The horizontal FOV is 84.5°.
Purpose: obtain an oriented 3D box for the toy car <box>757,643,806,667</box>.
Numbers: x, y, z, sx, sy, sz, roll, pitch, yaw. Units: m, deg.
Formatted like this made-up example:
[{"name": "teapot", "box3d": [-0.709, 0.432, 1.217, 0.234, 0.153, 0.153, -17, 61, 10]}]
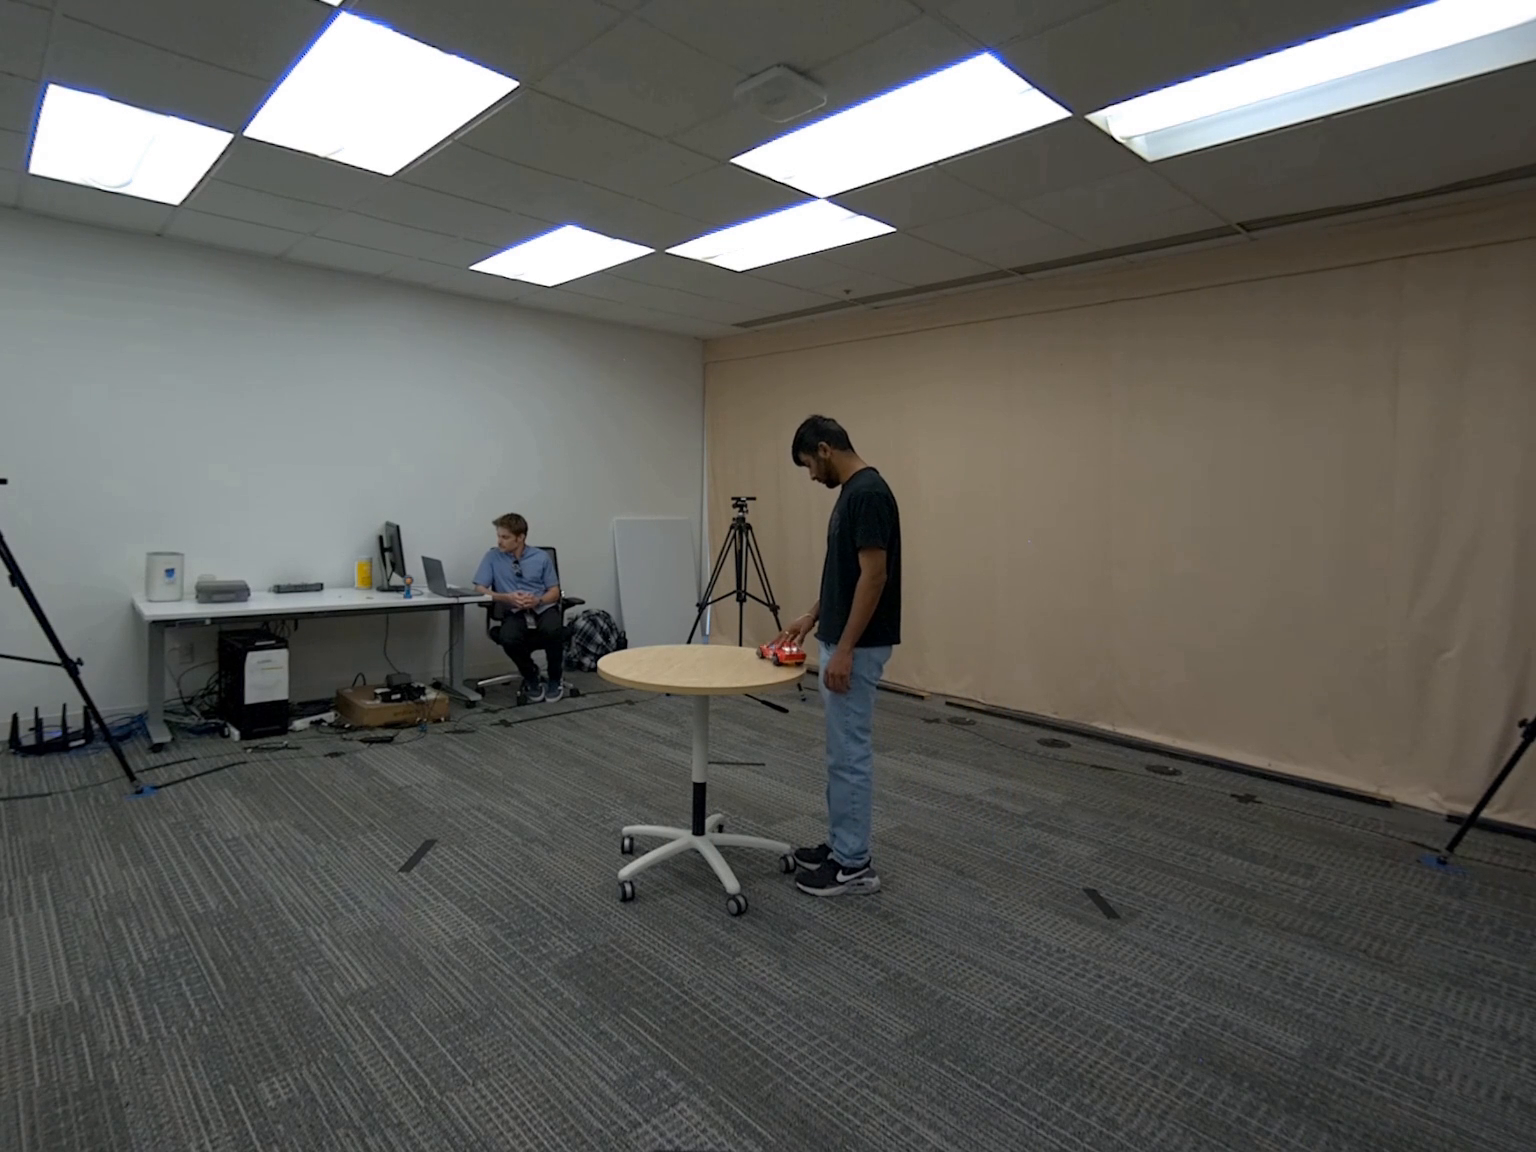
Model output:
[{"name": "toy car", "box3d": [0.052, 0.294, 3.145, 0.128, 0.083, 0.257, 0, -6, -22]}]
